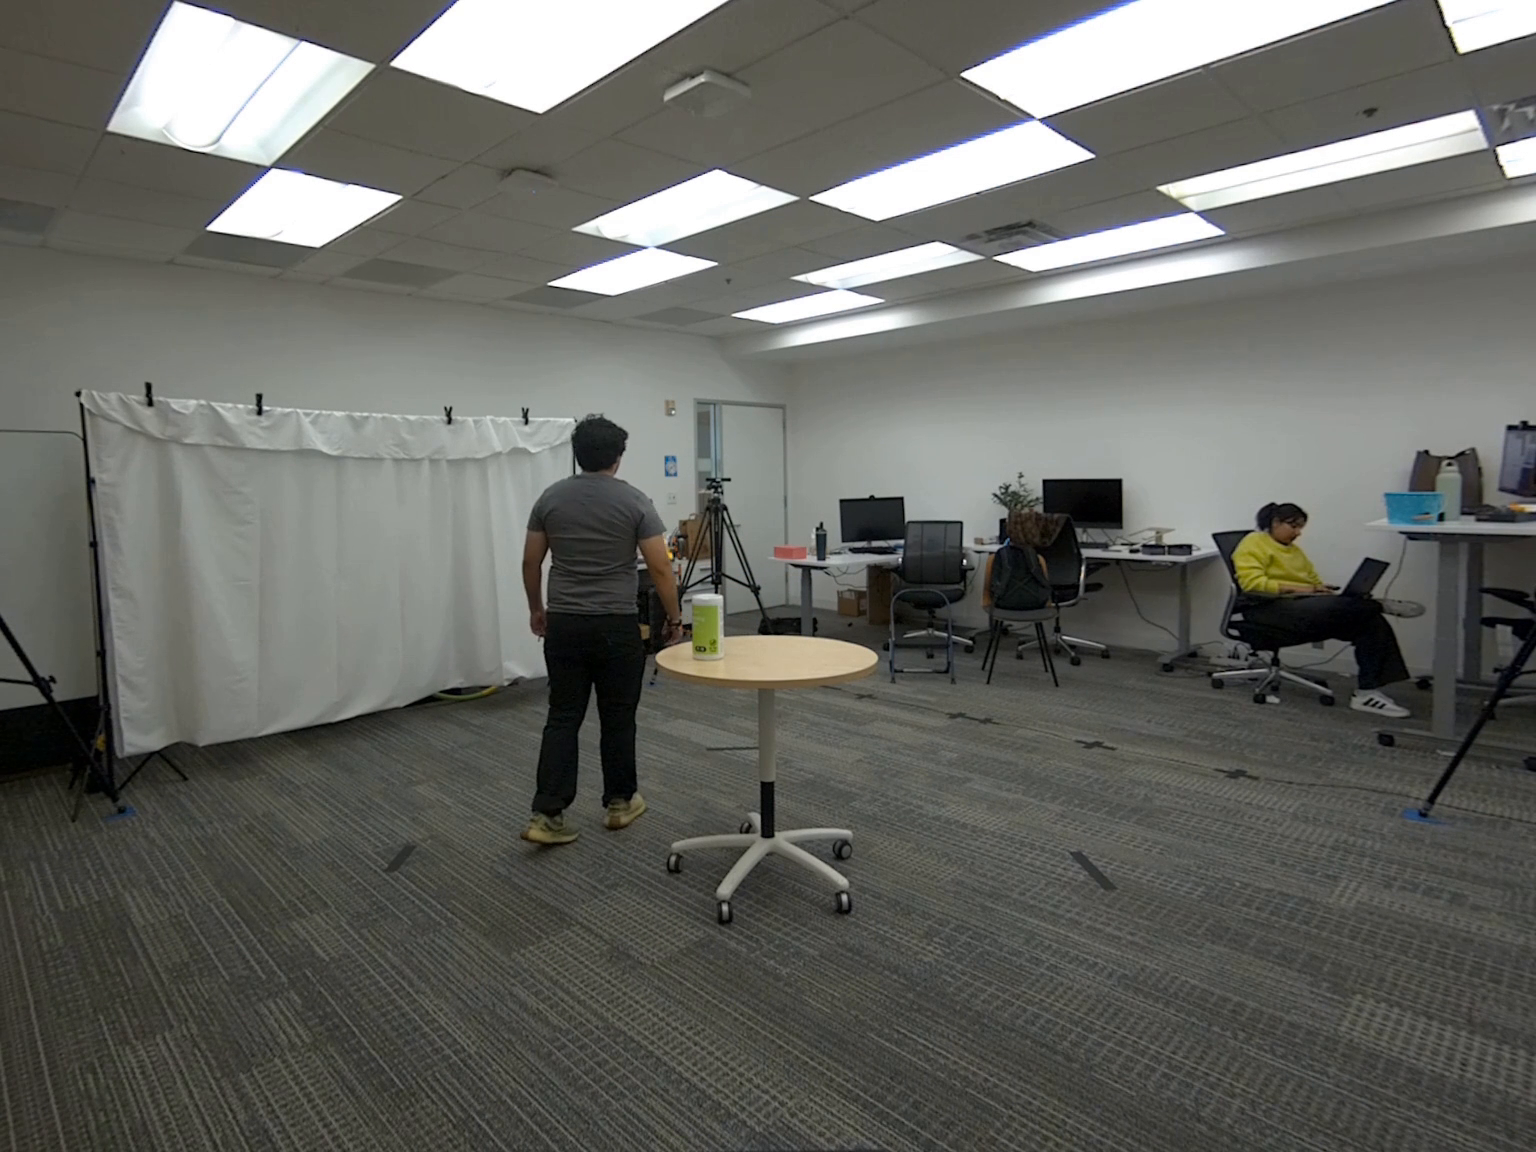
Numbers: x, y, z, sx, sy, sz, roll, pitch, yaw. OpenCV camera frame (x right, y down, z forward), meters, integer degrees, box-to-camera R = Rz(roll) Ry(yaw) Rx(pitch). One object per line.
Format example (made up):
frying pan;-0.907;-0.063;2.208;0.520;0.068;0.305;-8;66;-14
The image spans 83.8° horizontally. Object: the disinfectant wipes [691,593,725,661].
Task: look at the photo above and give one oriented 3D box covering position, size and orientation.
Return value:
disinfectant wipes;-0.200;0.177;2.926;0.118;0.217;0.118;-1;4;-2
